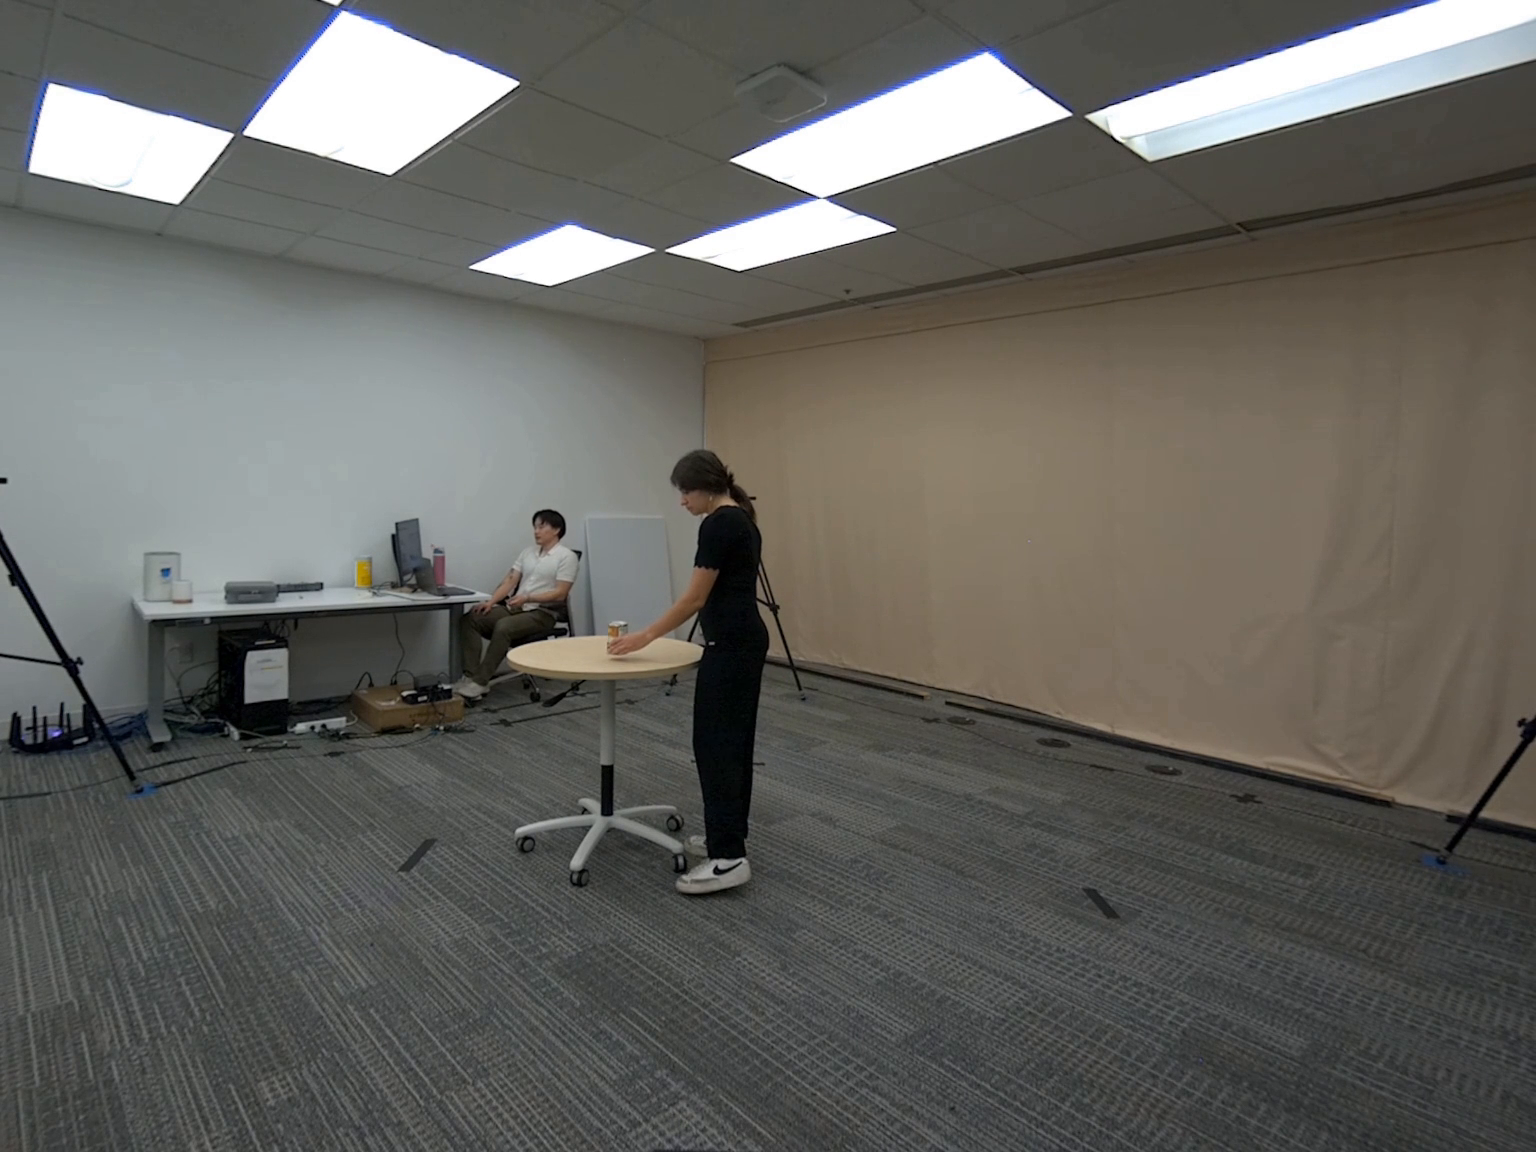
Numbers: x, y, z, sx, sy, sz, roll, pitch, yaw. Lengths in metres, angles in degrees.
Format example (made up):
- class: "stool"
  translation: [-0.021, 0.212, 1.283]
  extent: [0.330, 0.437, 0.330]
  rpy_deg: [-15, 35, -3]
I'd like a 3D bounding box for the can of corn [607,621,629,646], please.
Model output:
- class: "can of corn"
  translation: [-0.559, 0.230, 3.120]
  extent: [0.074, 0.110, 0.074]
  rpy_deg: [3, 6, -2]
